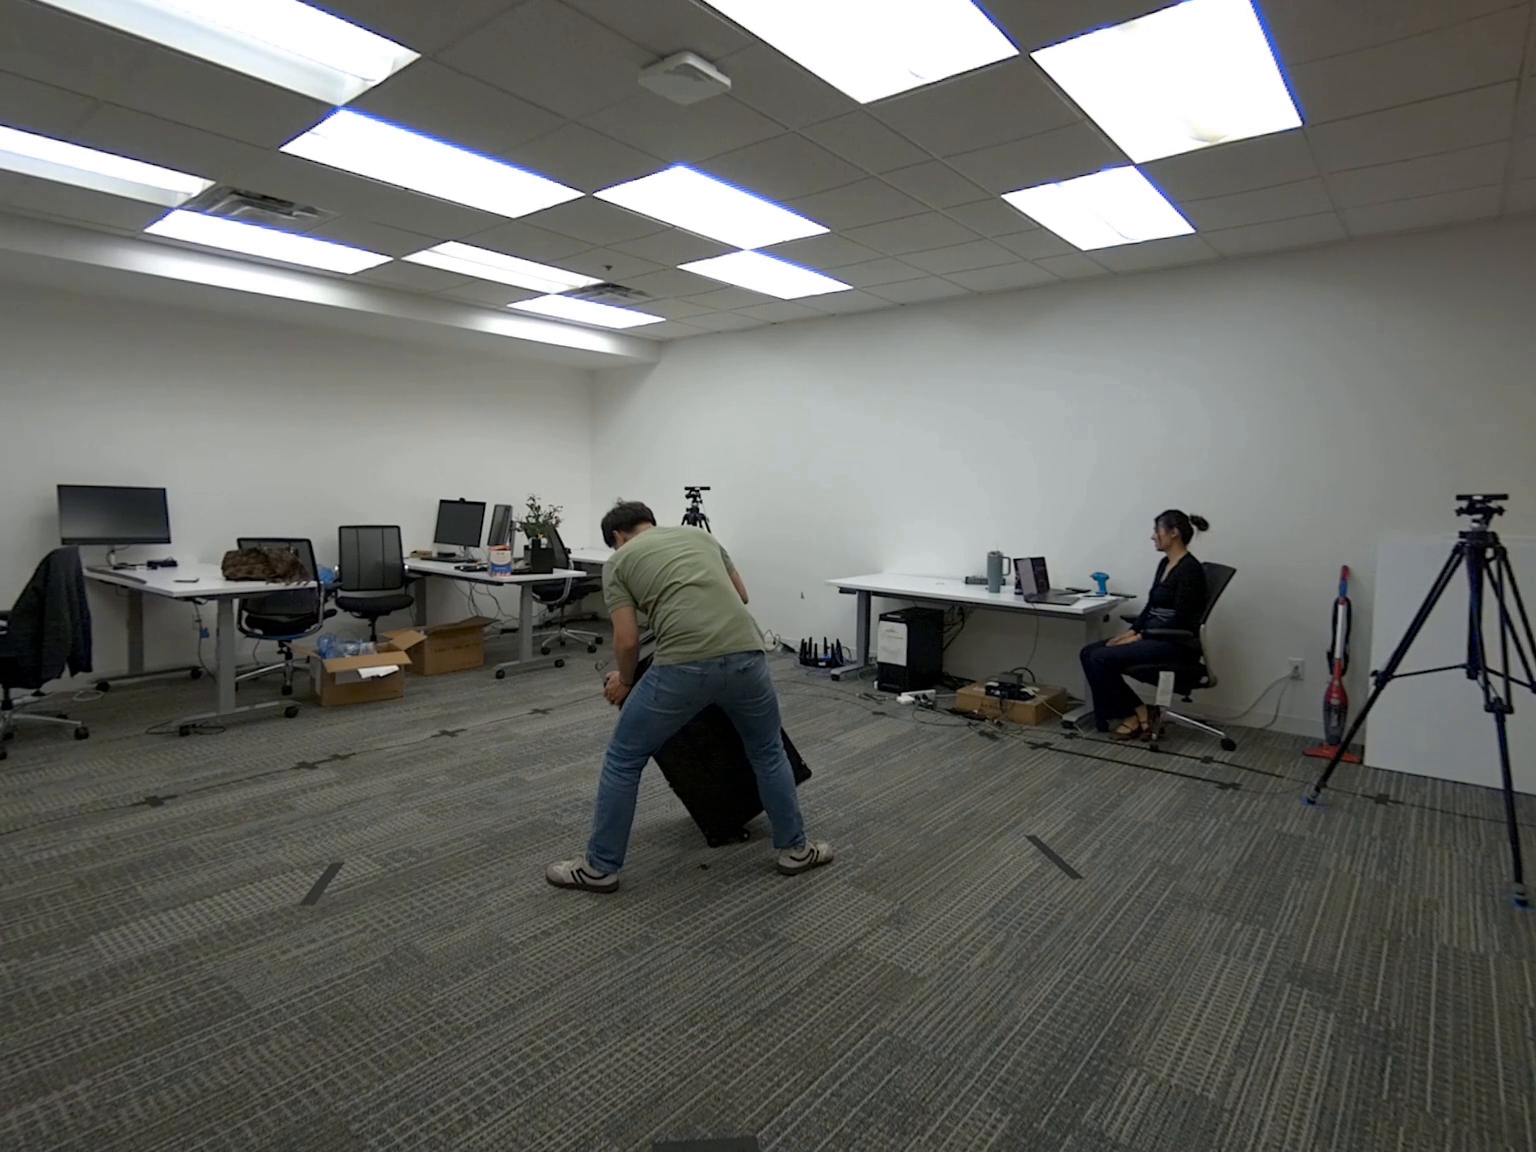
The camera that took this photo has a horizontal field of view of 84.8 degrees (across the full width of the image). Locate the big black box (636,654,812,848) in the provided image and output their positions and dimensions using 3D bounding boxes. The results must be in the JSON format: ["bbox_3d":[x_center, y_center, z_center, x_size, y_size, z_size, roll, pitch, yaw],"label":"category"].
[{"bbox_3d":[-0.247,0.603,3.425,0.519,0.849,0.403,-33,11,-10],"label":"big black box"}]
